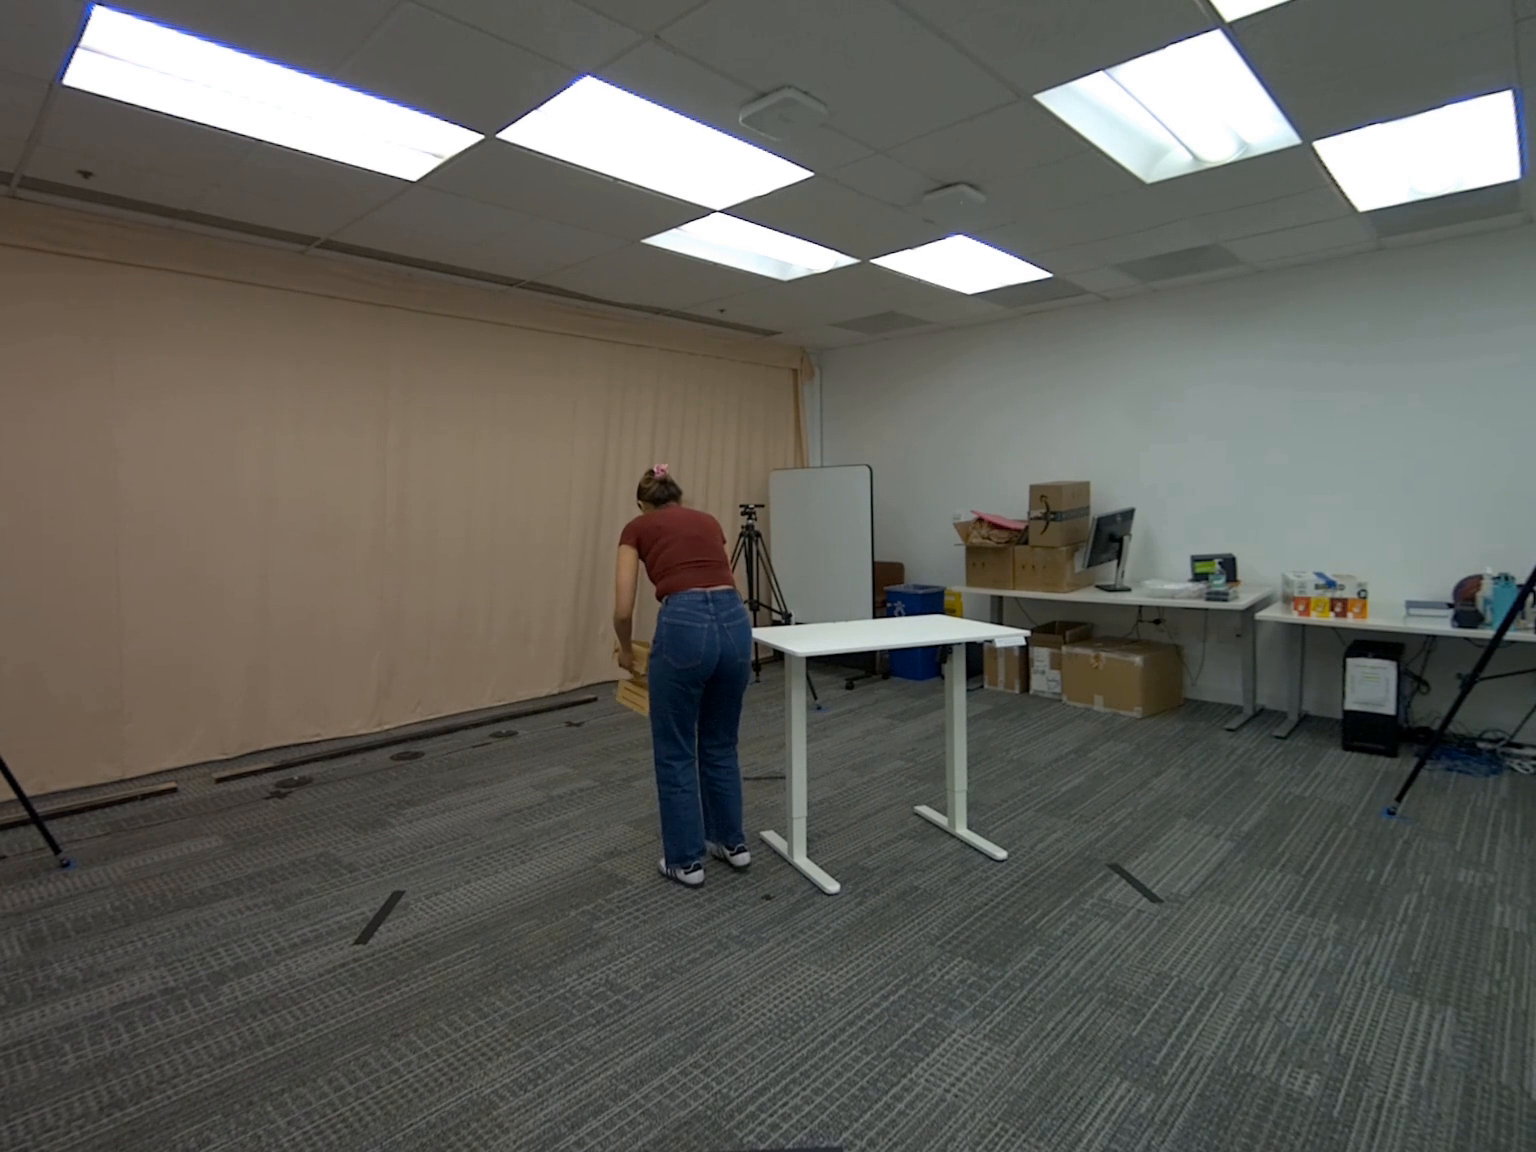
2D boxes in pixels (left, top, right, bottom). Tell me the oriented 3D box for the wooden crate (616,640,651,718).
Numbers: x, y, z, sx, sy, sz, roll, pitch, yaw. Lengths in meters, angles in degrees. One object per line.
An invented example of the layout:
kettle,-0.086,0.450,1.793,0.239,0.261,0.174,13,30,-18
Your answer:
wooden crate,-0.439,0.417,3.437,0.292,0.273,0.335,8,1,-34
